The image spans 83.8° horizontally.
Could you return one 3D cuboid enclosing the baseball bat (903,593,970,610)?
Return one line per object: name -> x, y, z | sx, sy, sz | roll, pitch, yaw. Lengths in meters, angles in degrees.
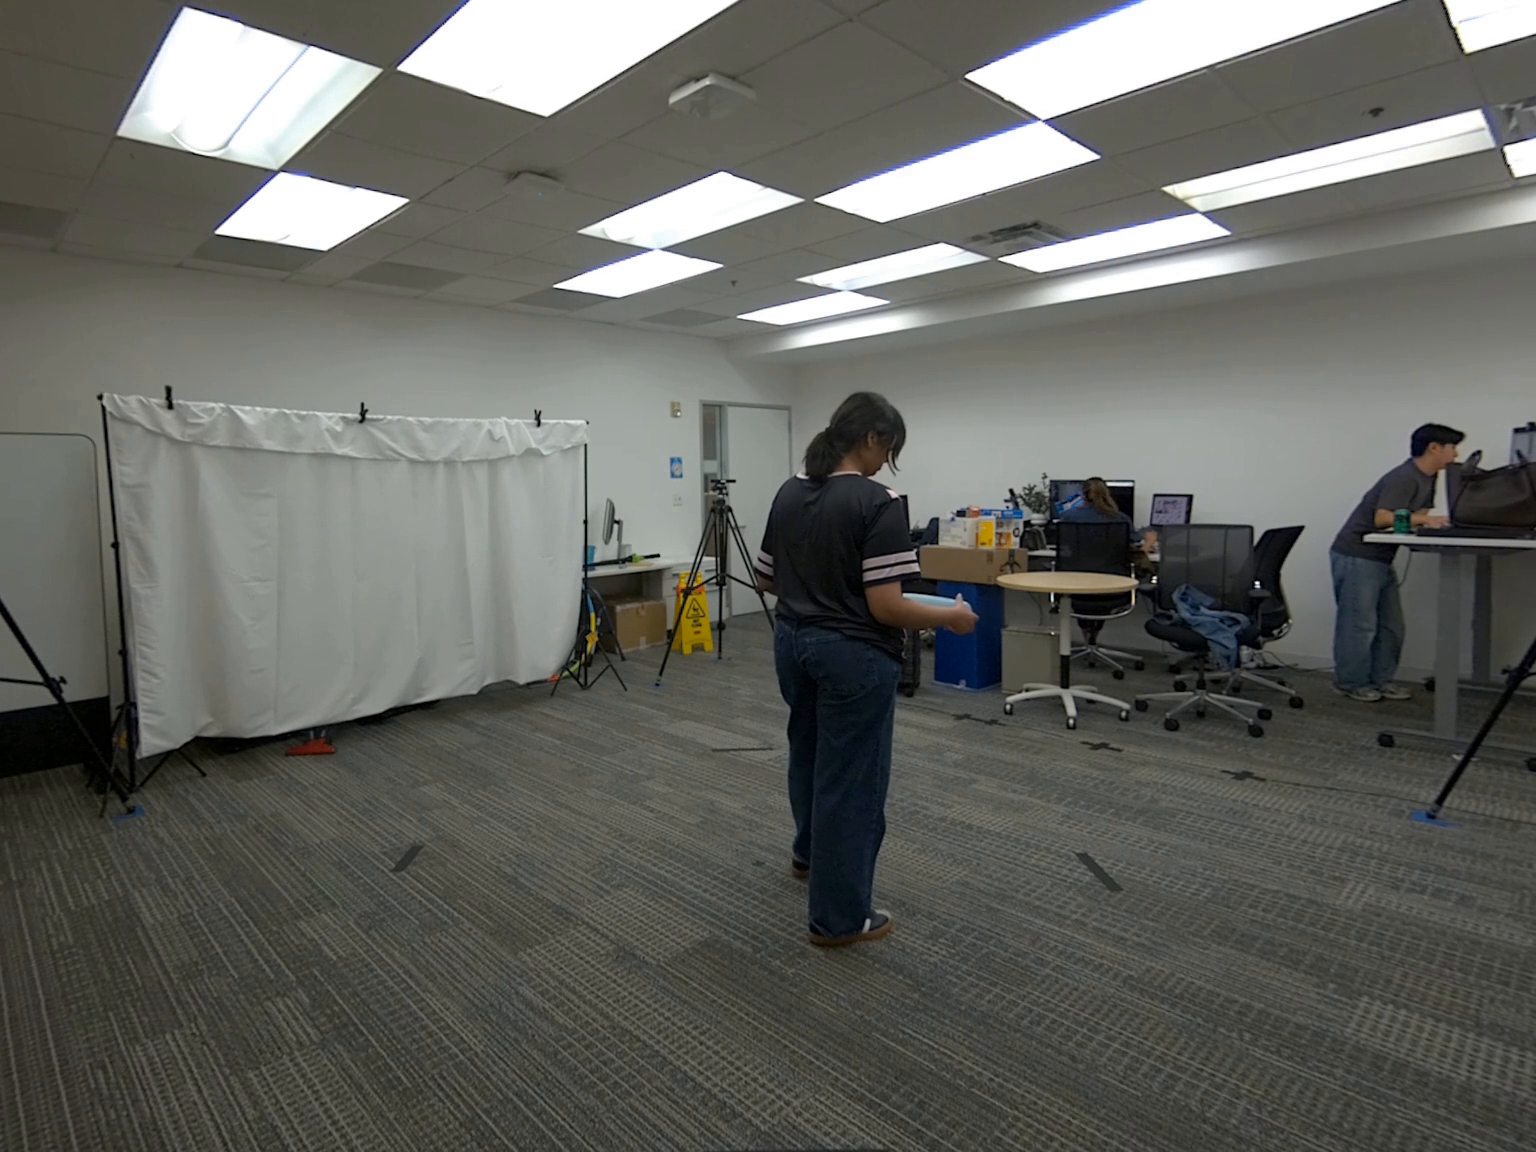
baseball bat -> 0.412, 0.090, 2.752 | 0.561, 0.088, 0.087 | 9, 10, 41
